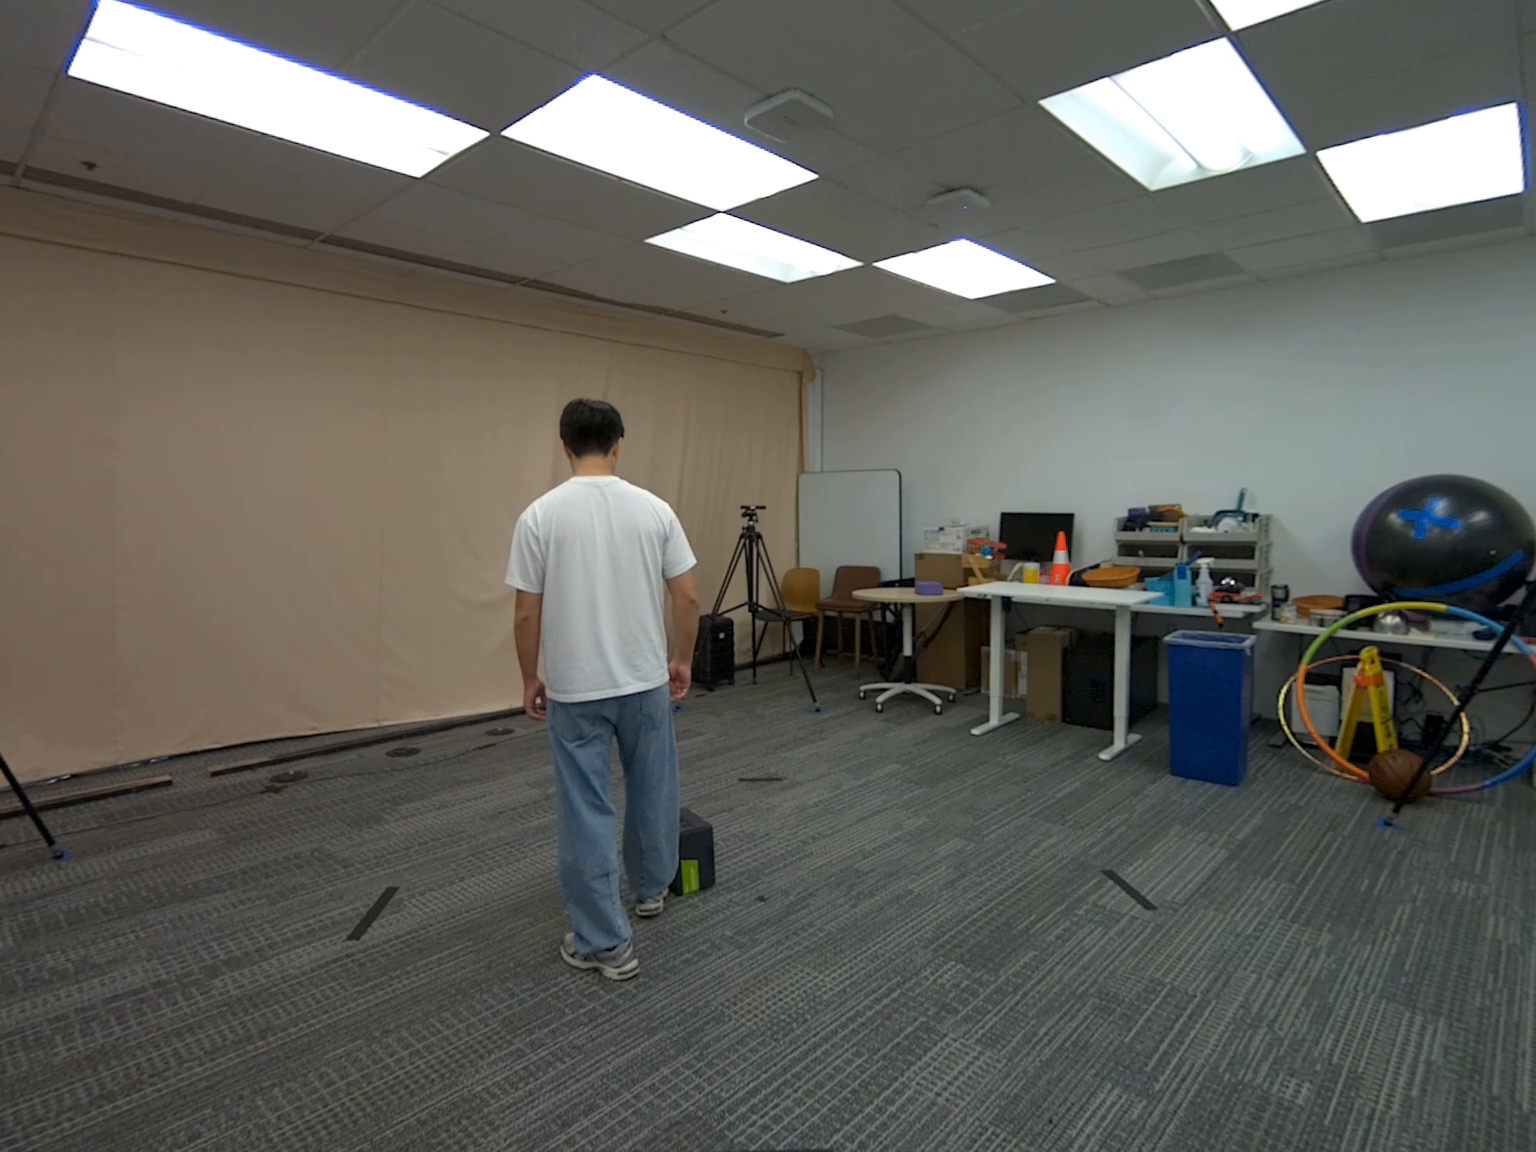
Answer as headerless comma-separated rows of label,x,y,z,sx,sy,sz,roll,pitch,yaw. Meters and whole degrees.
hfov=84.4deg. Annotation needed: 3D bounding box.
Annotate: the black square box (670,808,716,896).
black square box,-0.315,1.013,3.116,0.151,0.227,0.224,-3,5,-34
